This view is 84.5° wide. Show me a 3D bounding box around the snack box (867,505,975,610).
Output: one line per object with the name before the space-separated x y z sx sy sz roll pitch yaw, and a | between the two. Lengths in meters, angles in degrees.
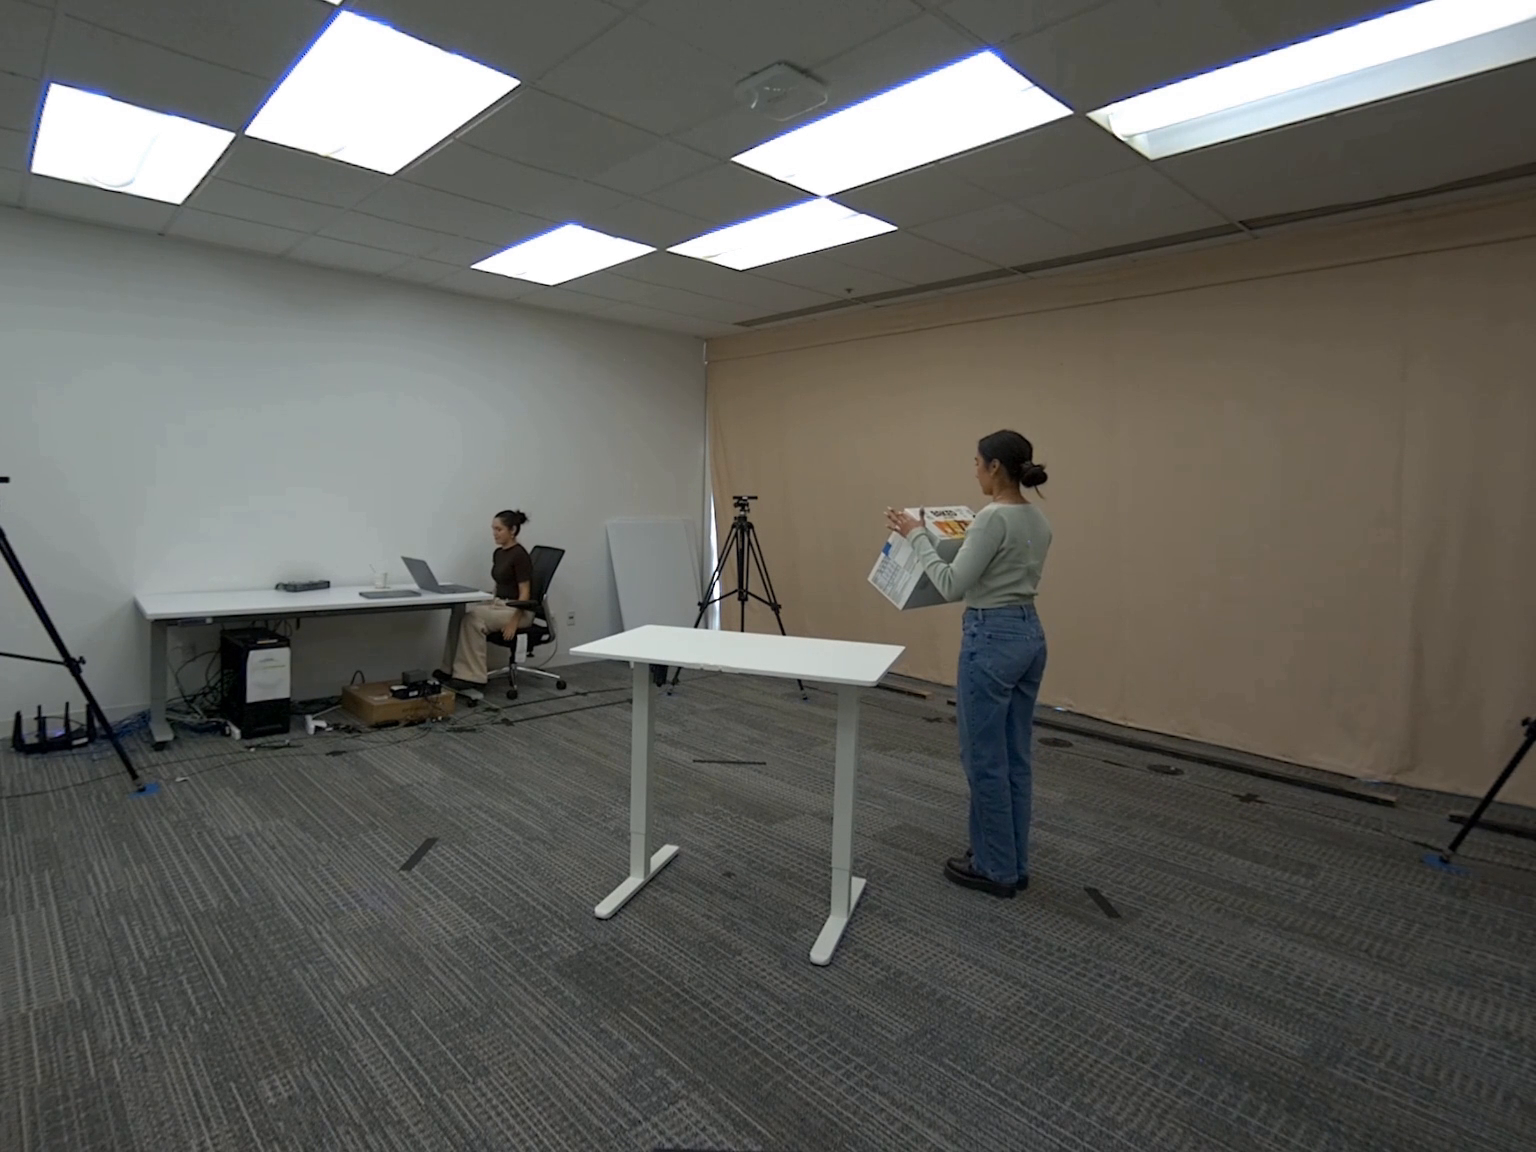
snack box | 0.651 -0.072 3.313 0.396 0.337 0.212 -5 39 -42
